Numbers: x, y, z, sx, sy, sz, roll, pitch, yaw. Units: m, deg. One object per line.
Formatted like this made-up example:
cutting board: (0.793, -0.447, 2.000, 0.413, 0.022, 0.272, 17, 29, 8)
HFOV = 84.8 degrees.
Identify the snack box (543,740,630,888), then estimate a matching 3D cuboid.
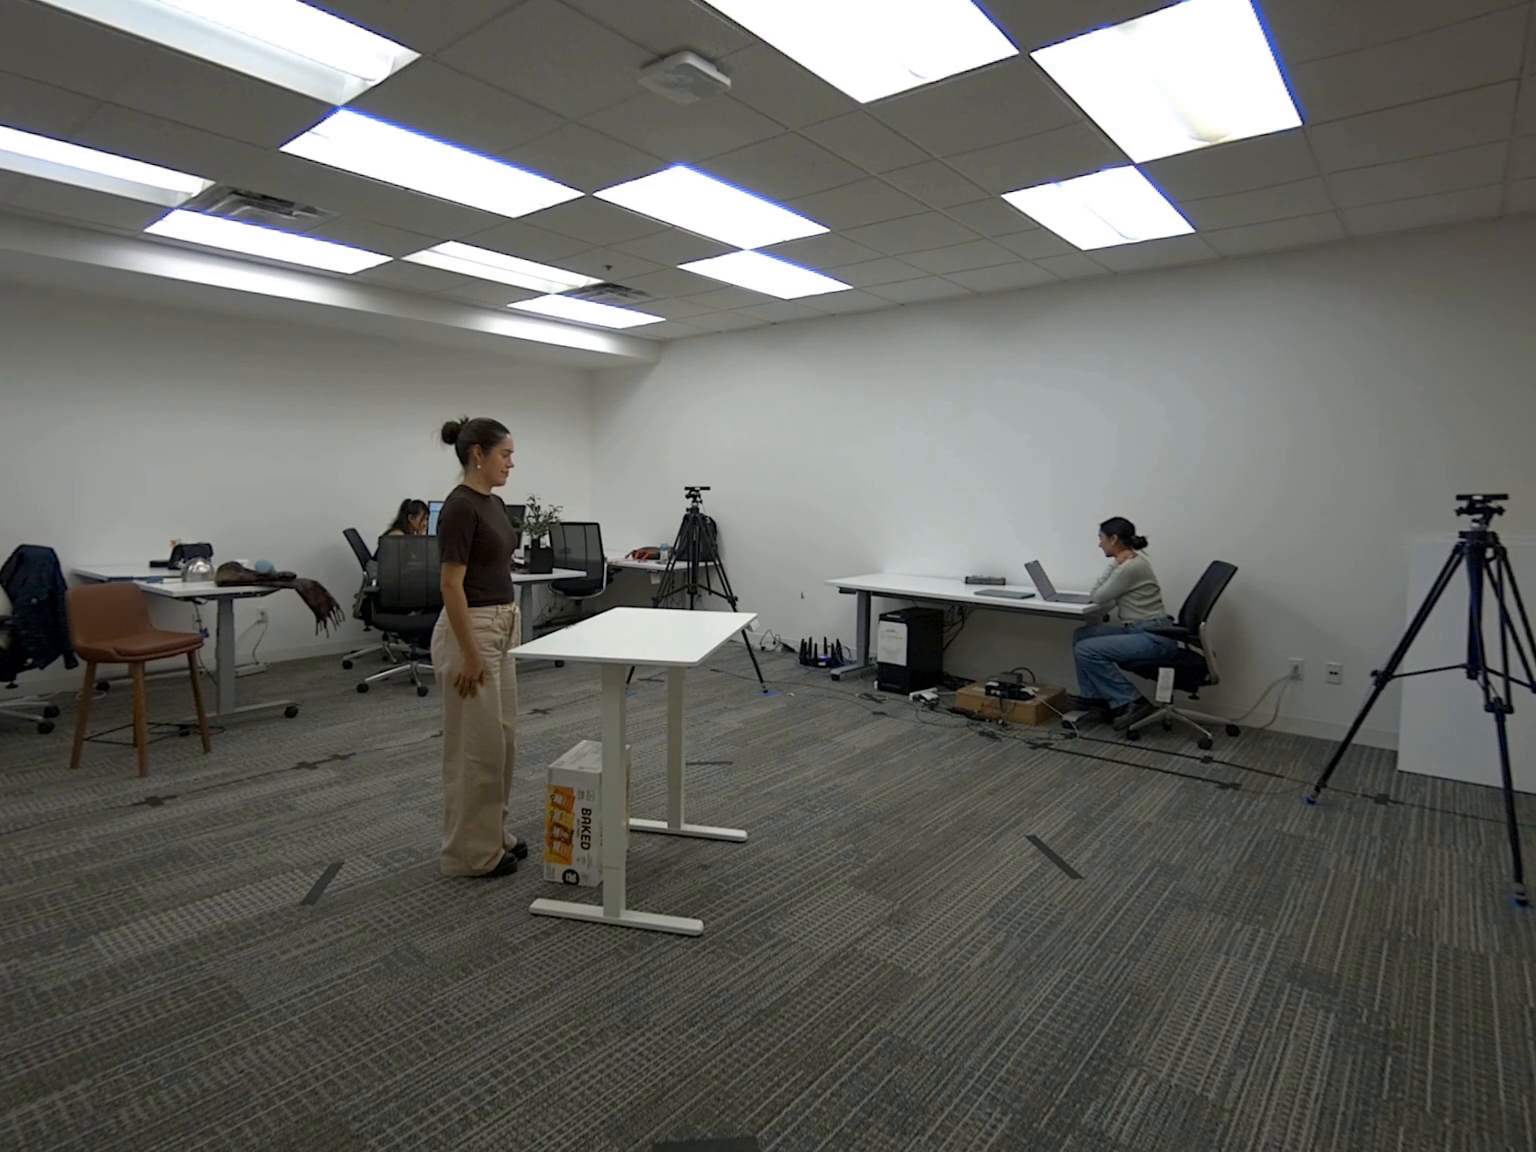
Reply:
snack box: (-0.668, 0.858, 3.107, 0.208, 0.404, 0.337, 3, 4, 10)
